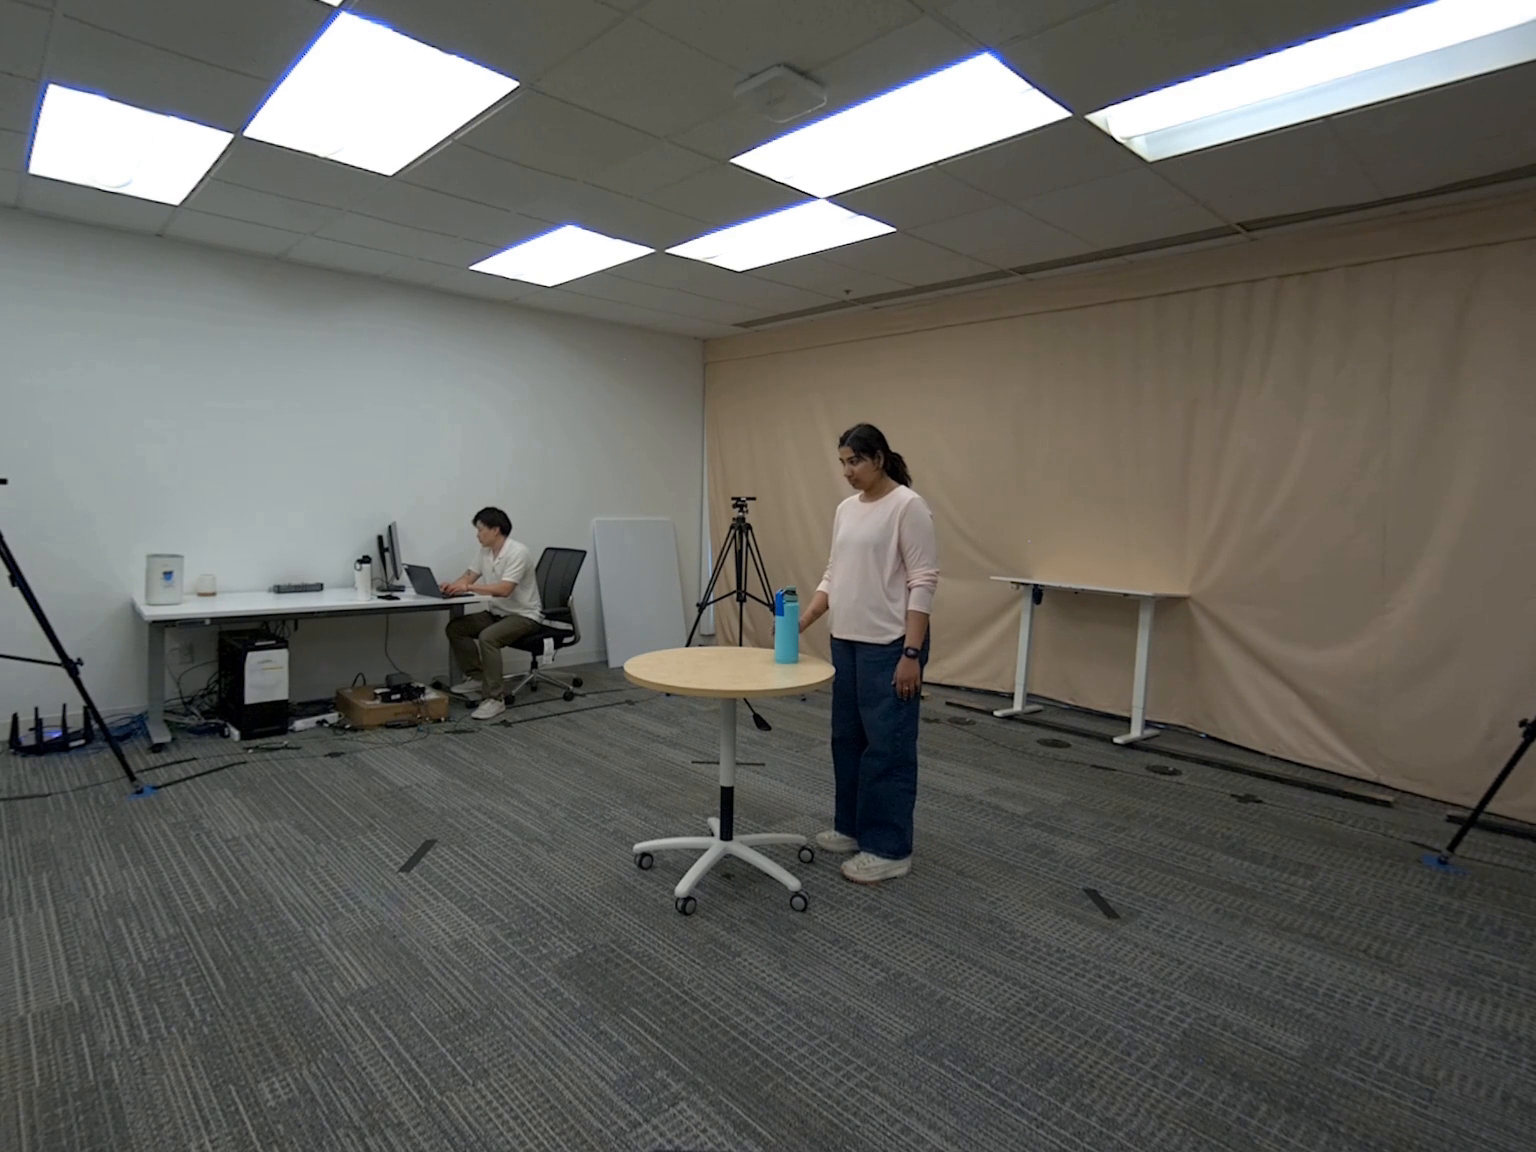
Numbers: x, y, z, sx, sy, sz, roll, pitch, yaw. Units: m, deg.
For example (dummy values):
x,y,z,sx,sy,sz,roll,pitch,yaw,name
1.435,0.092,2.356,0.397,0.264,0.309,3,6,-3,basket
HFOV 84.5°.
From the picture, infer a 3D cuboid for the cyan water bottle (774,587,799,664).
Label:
x,y,z,sx,sy,sz,roll,pitch,yaw,name
0.066,0.181,3.155,0.092,0.282,0.092,1,4,-1,cyan water bottle
